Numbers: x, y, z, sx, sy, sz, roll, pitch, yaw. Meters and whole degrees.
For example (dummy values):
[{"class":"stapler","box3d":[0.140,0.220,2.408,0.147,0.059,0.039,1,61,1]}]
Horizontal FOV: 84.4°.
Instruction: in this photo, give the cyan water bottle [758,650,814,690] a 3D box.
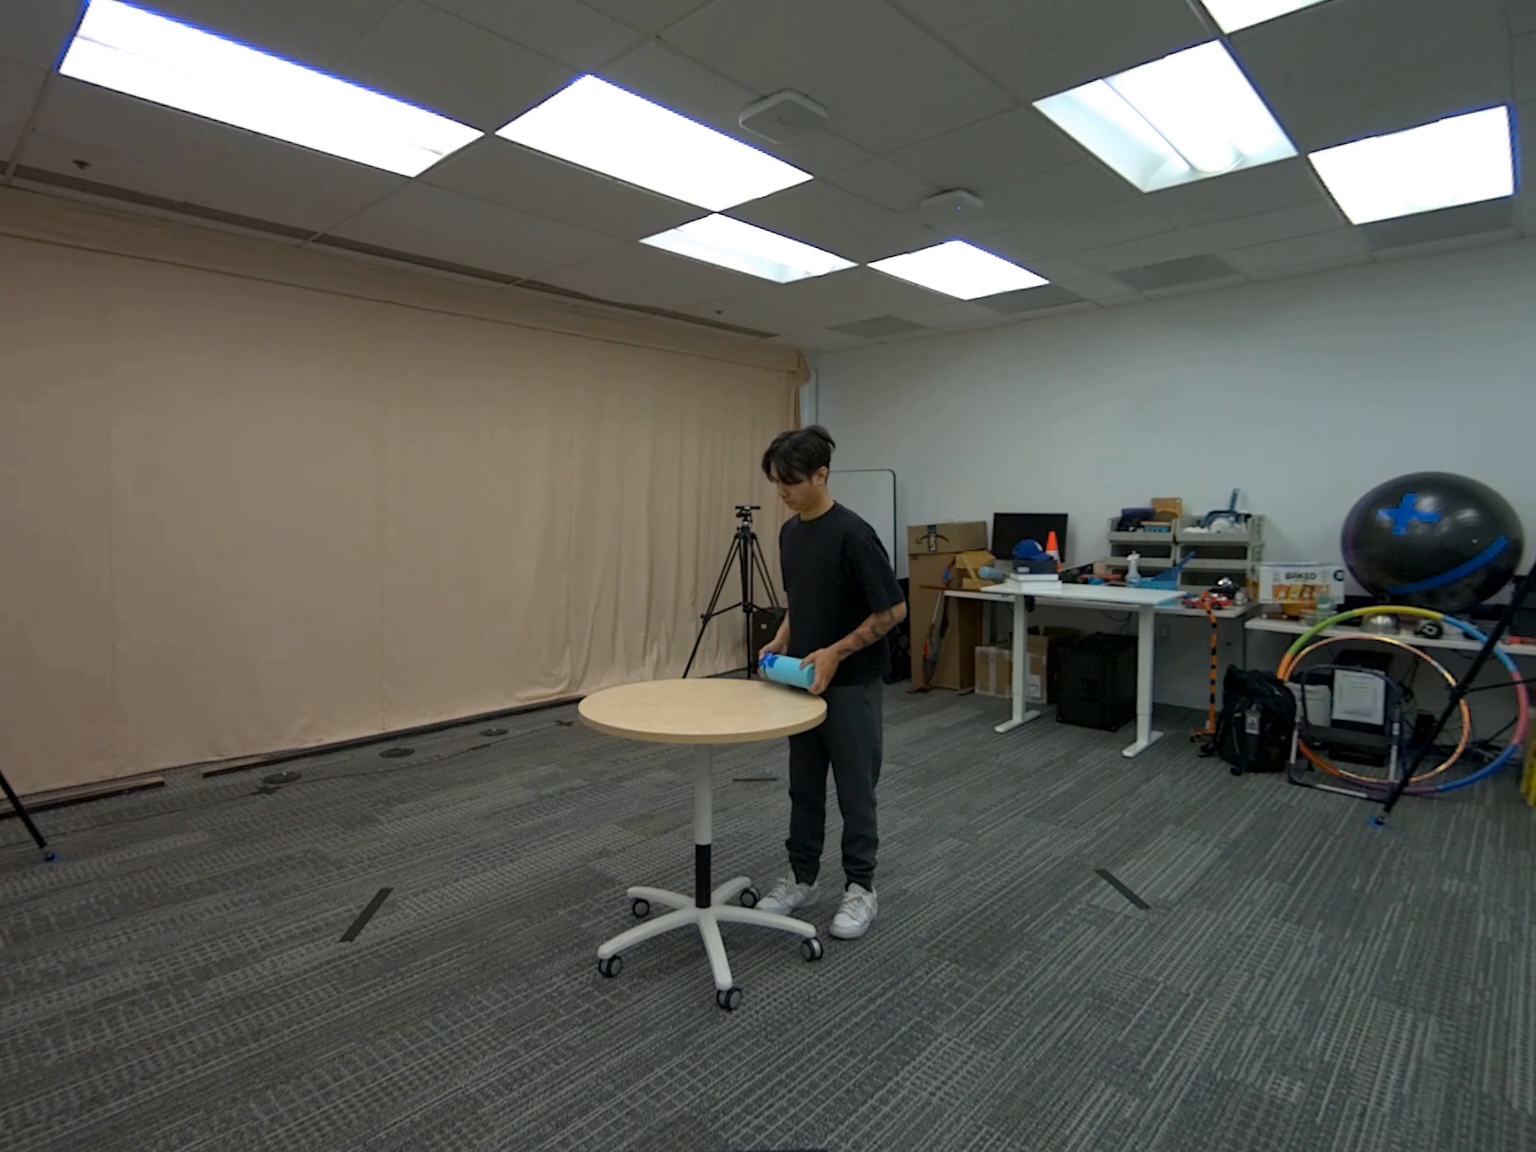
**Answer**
[{"class":"cyan water bottle","box3d":[0.068,0.314,2.801,0.090,0.092,0.292,-2,4,-34]}]
